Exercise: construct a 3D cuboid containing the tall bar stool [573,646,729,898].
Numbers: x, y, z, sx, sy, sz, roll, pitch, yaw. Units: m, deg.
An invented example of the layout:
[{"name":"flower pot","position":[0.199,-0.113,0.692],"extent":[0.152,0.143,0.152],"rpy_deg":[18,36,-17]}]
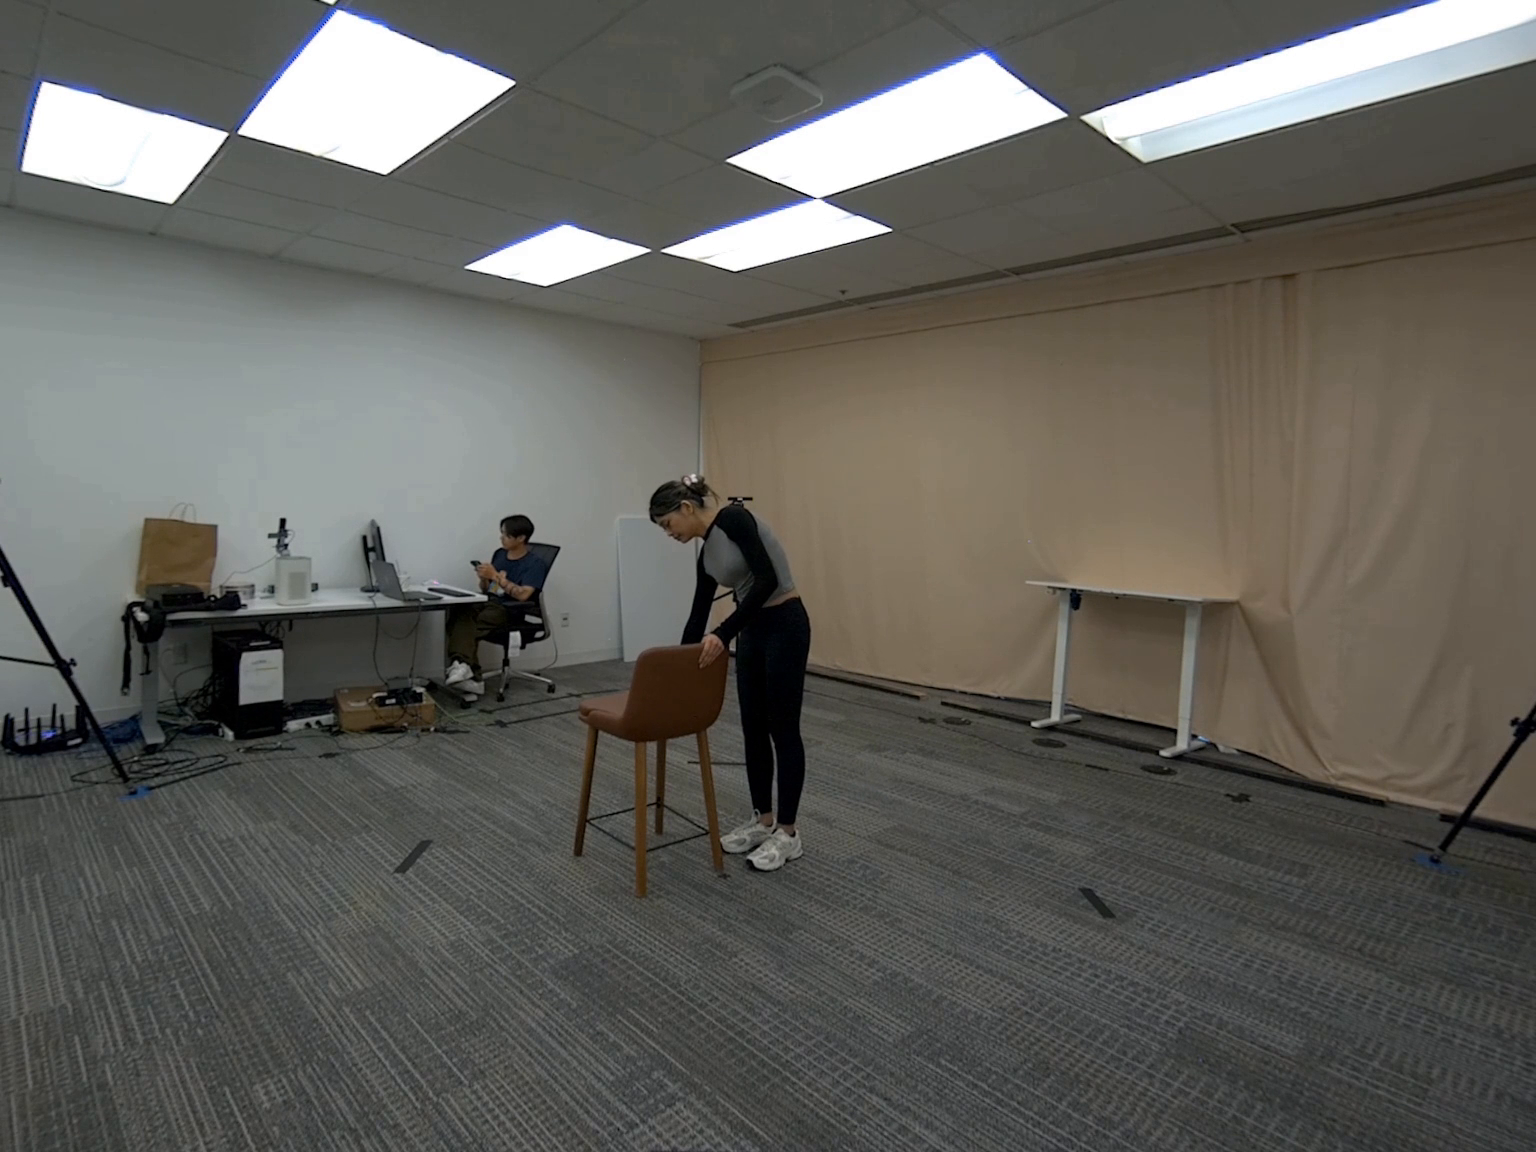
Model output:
[{"name":"tall bar stool","position":[-0.445,0.657,3.172],"extent":[0.446,0.886,0.480],"rpy_deg":[-2,7,-41]}]
